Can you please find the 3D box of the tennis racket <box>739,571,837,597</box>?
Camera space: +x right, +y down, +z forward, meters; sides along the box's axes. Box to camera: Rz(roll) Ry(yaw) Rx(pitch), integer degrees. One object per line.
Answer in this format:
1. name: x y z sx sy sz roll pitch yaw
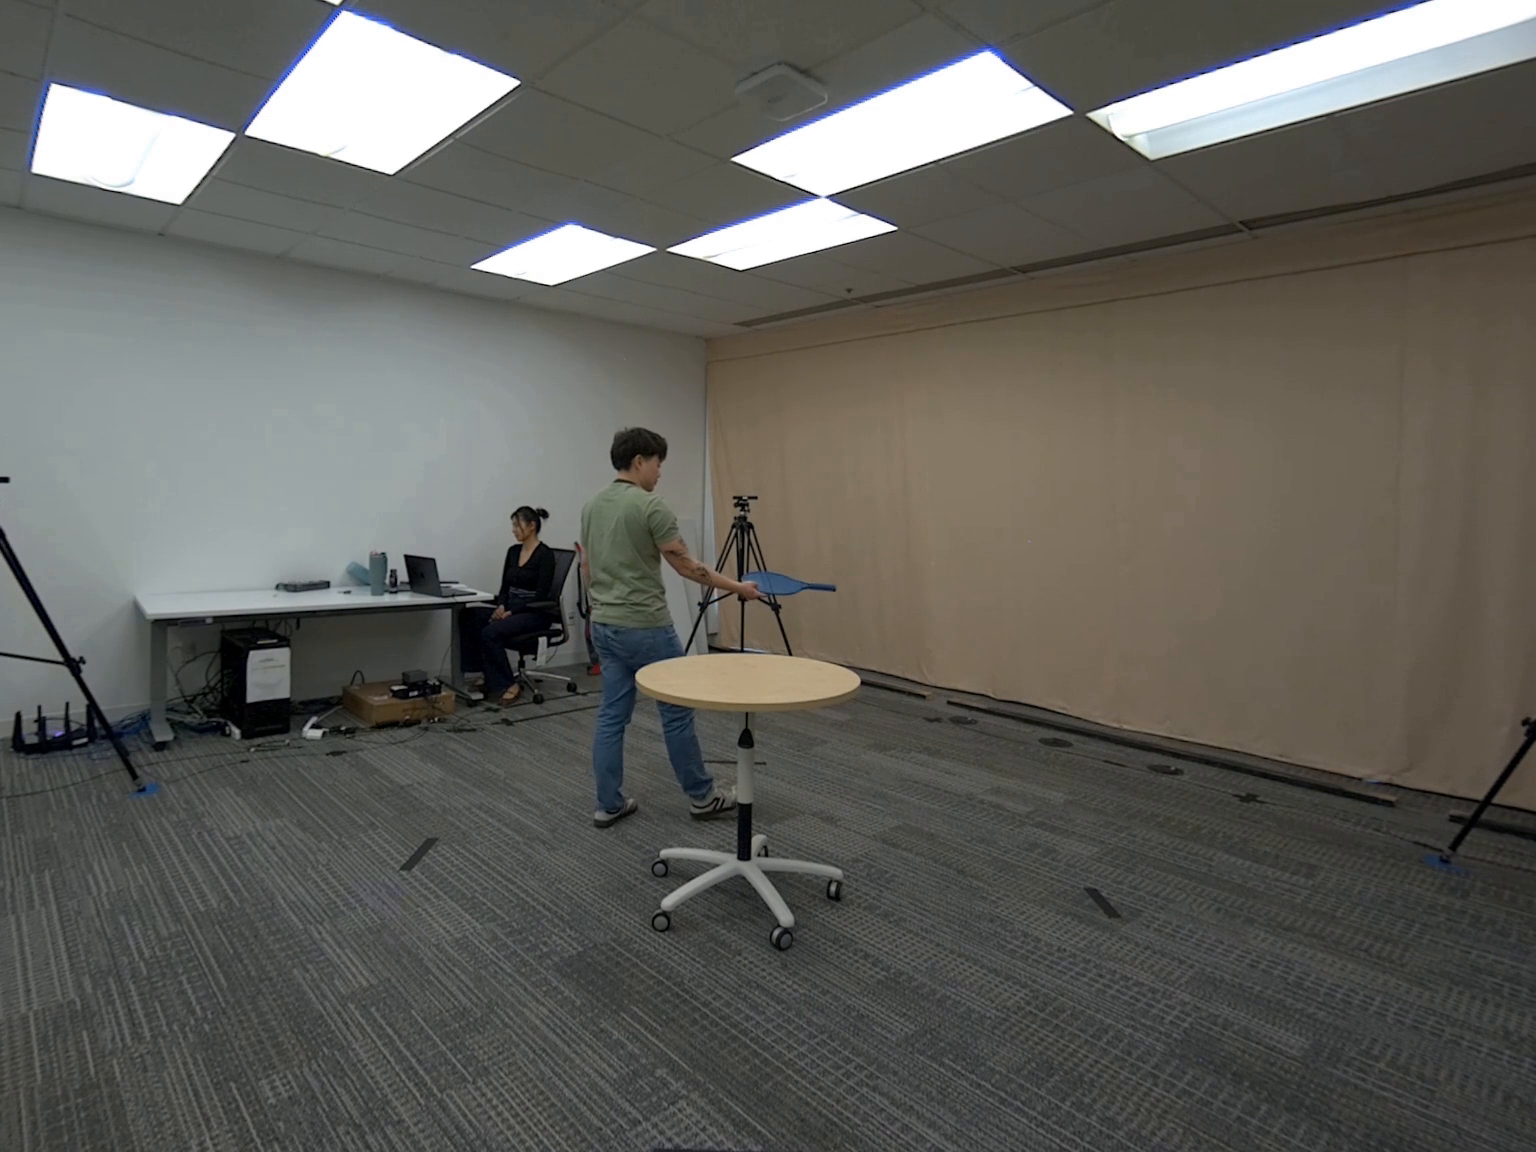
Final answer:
1. tennis racket: 0.079 0.037 3.687 0.426 0.031 0.219 3 24 -18
